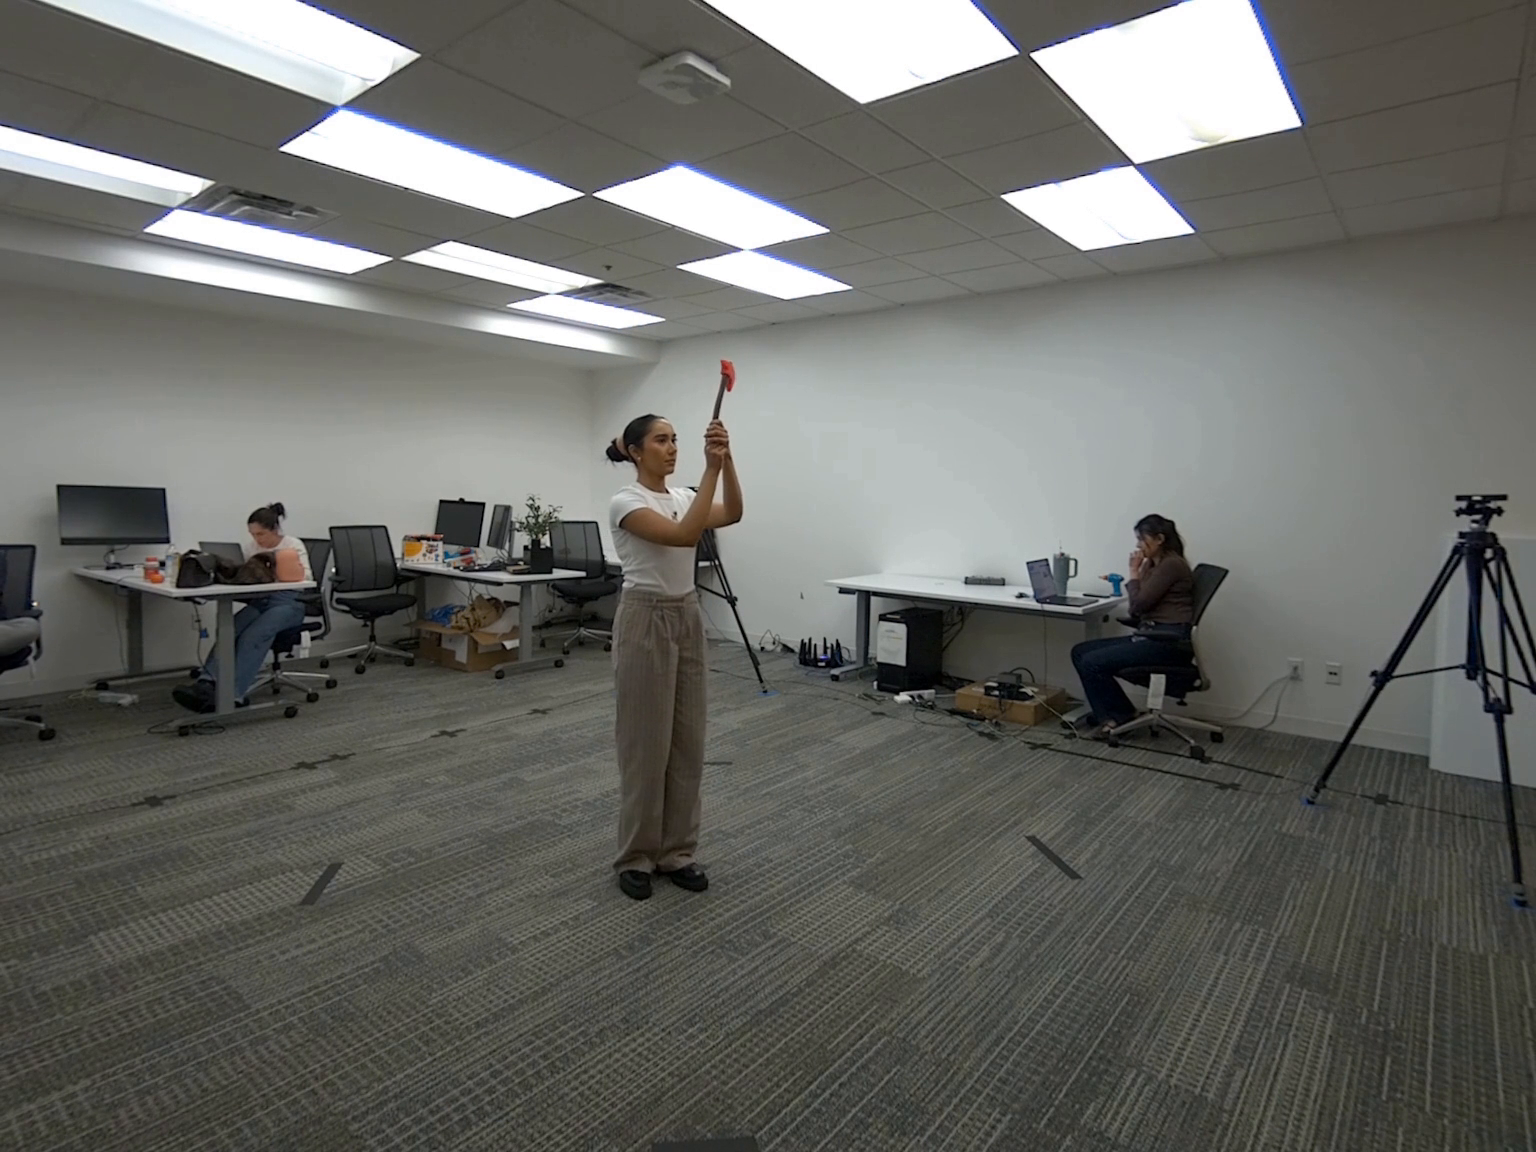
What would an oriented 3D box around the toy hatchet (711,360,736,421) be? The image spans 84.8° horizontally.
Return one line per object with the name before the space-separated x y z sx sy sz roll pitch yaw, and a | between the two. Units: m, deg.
toy hatchet | -0.163 -0.579 2.805 0.030 0.270 0.128 9 2 15
